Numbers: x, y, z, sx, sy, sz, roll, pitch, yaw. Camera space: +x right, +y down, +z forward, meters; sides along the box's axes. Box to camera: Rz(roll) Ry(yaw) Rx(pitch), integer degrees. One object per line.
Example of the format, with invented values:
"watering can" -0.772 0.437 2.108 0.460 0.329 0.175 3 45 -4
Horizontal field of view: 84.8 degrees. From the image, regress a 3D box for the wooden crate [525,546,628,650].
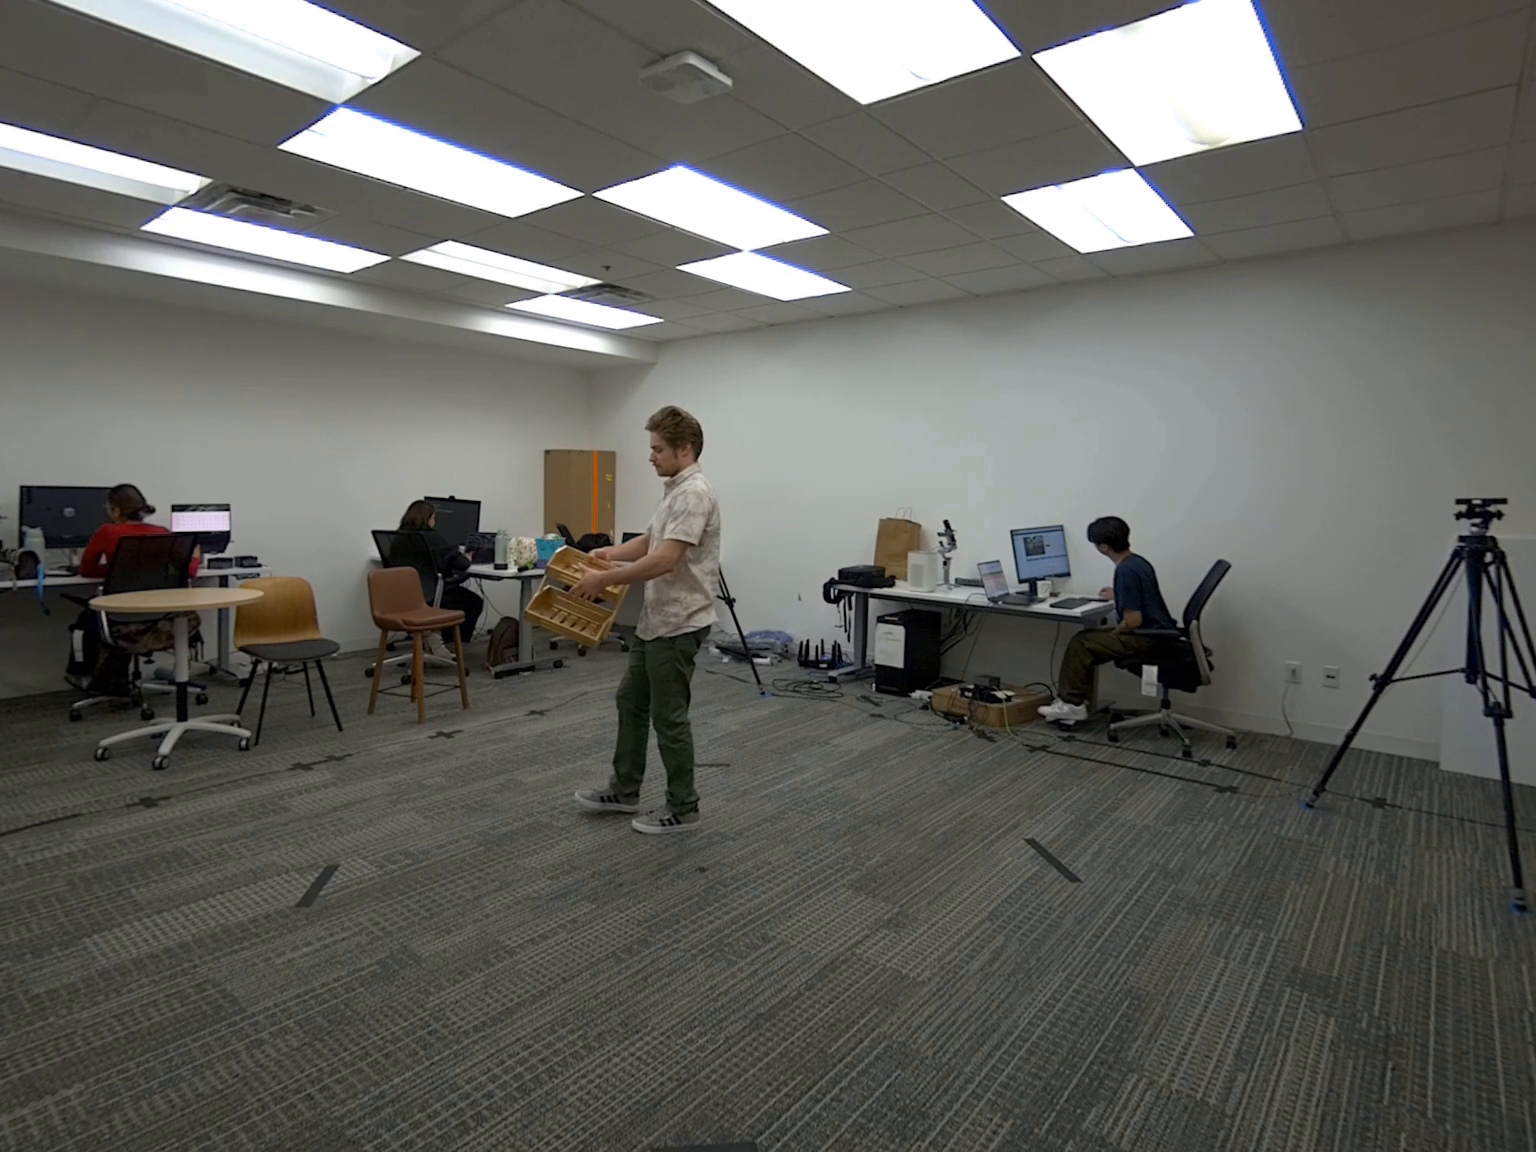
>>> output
"wooden crate" -0.762 0.076 3.354 0.325 0.272 0.303 22 12 0
